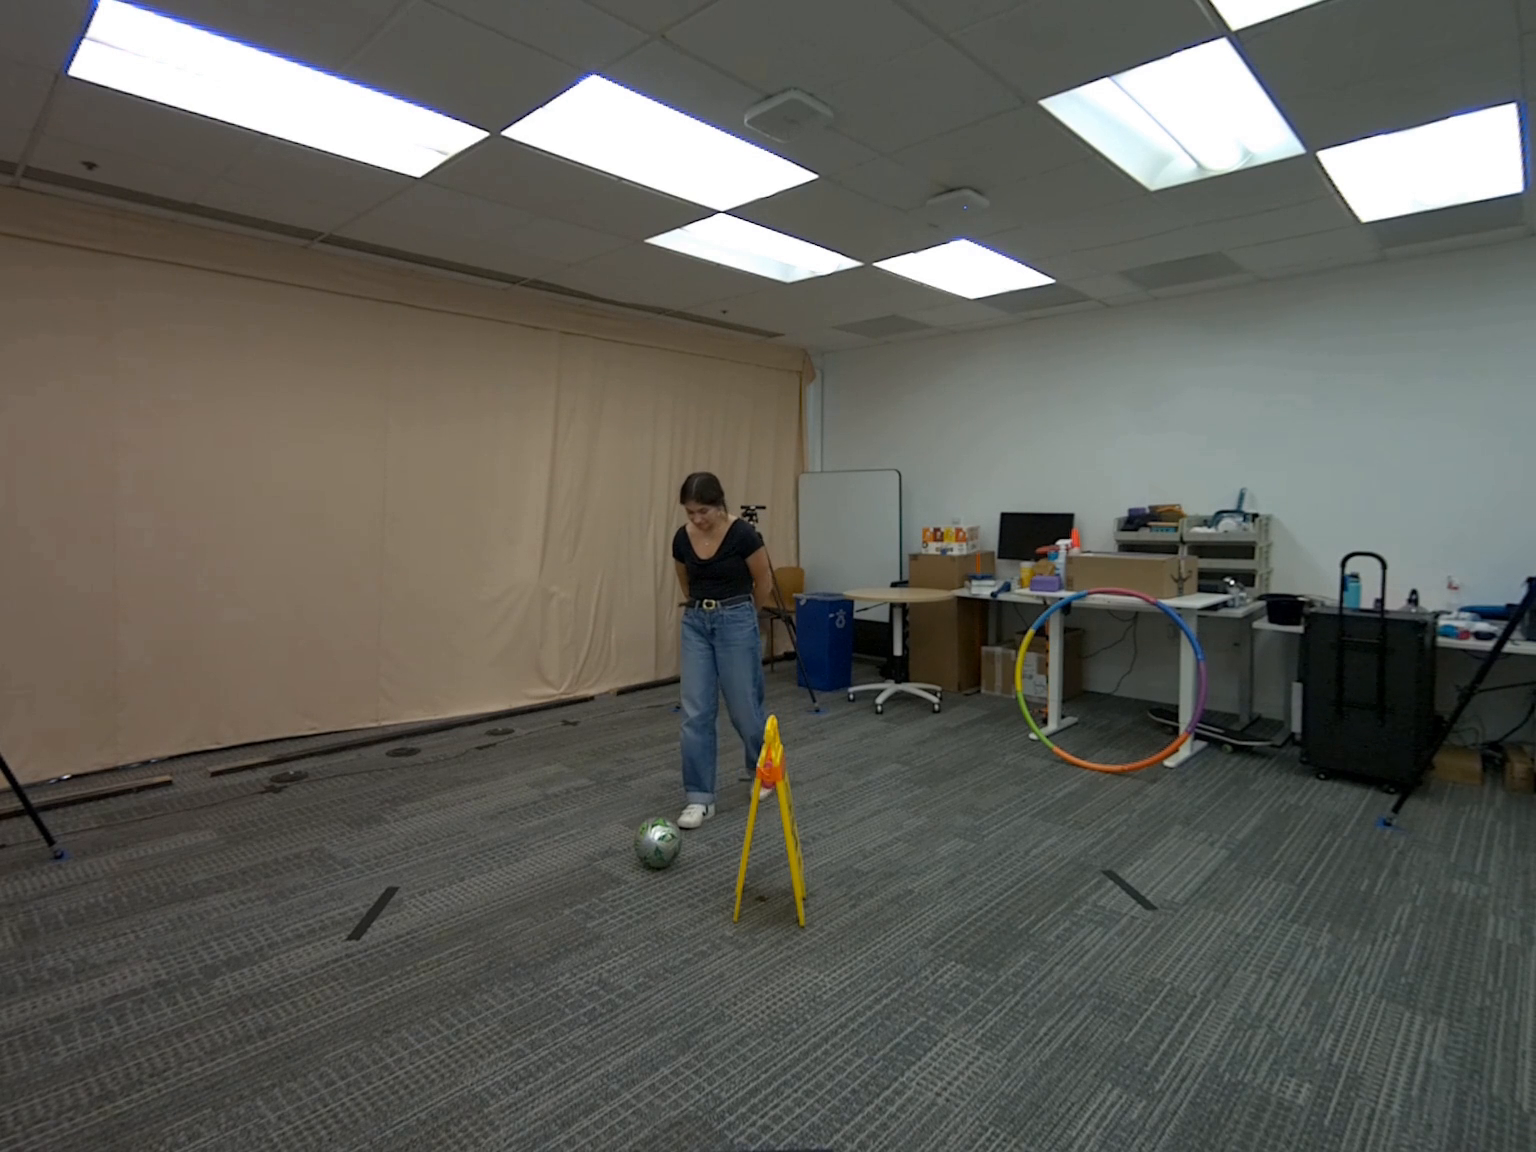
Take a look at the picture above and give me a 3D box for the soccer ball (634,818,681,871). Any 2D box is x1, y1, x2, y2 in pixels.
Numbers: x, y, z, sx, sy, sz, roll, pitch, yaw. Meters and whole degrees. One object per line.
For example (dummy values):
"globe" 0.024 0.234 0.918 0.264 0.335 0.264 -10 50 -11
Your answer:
"soccer ball" -0.419 1.022 3.257 0.187 0.187 0.188 0 4 -2
